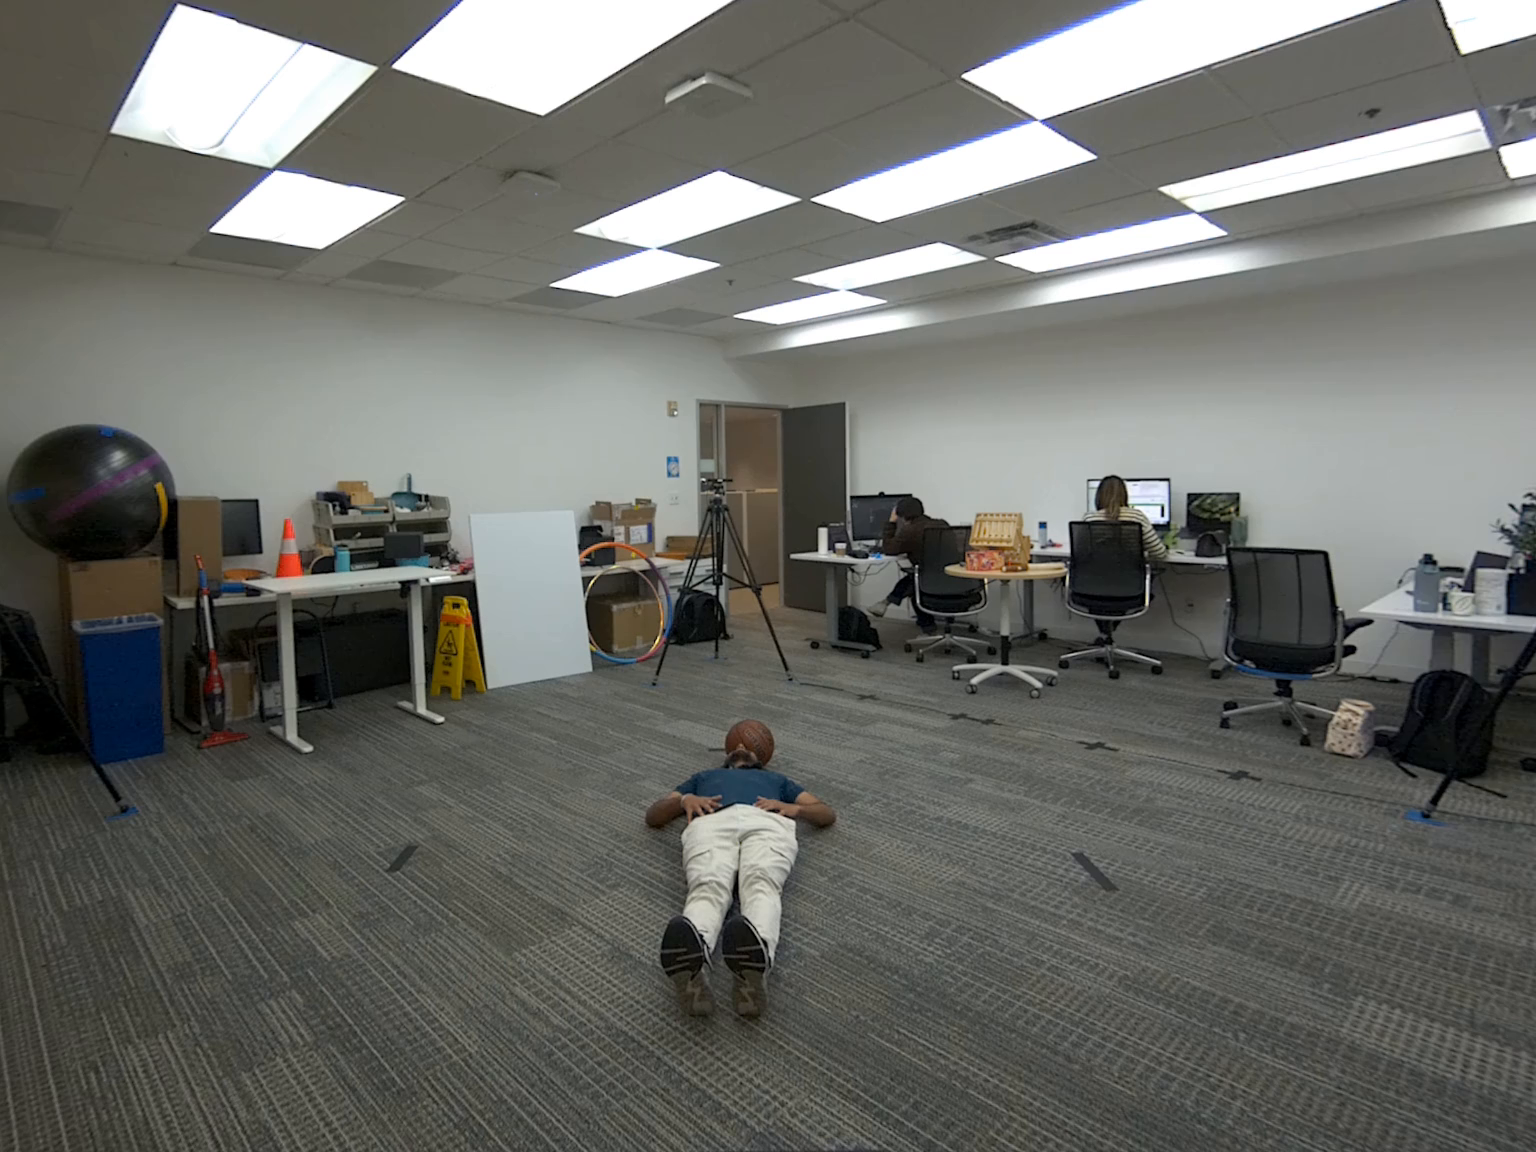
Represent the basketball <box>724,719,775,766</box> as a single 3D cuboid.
[{"bbox_3d":[-0.088,0.809,4.118,0.236,0.235,0.237,-1,5,-2],"label":"basketball"}]
